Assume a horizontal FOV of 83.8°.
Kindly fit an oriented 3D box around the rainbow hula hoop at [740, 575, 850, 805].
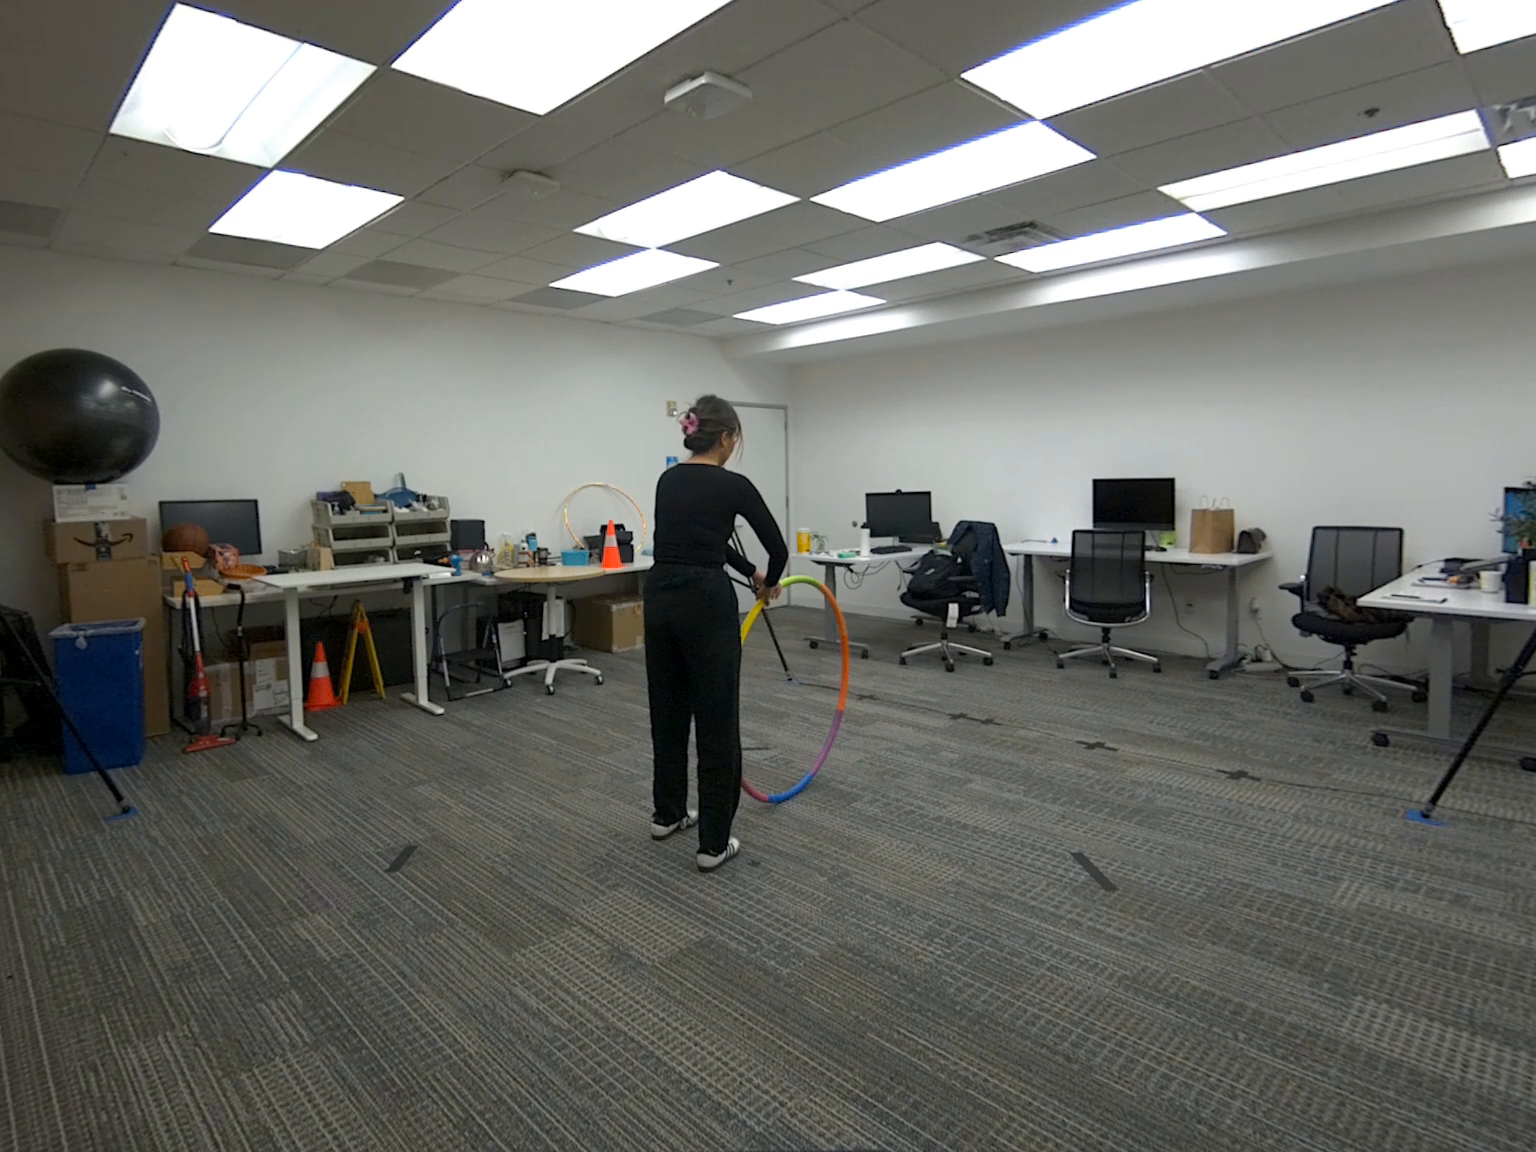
[{"bbox_3d":[0.106,0.491,3.713,0.036,0.974,0.955,4,7,34],"label":"rainbow hula hoop"}]
